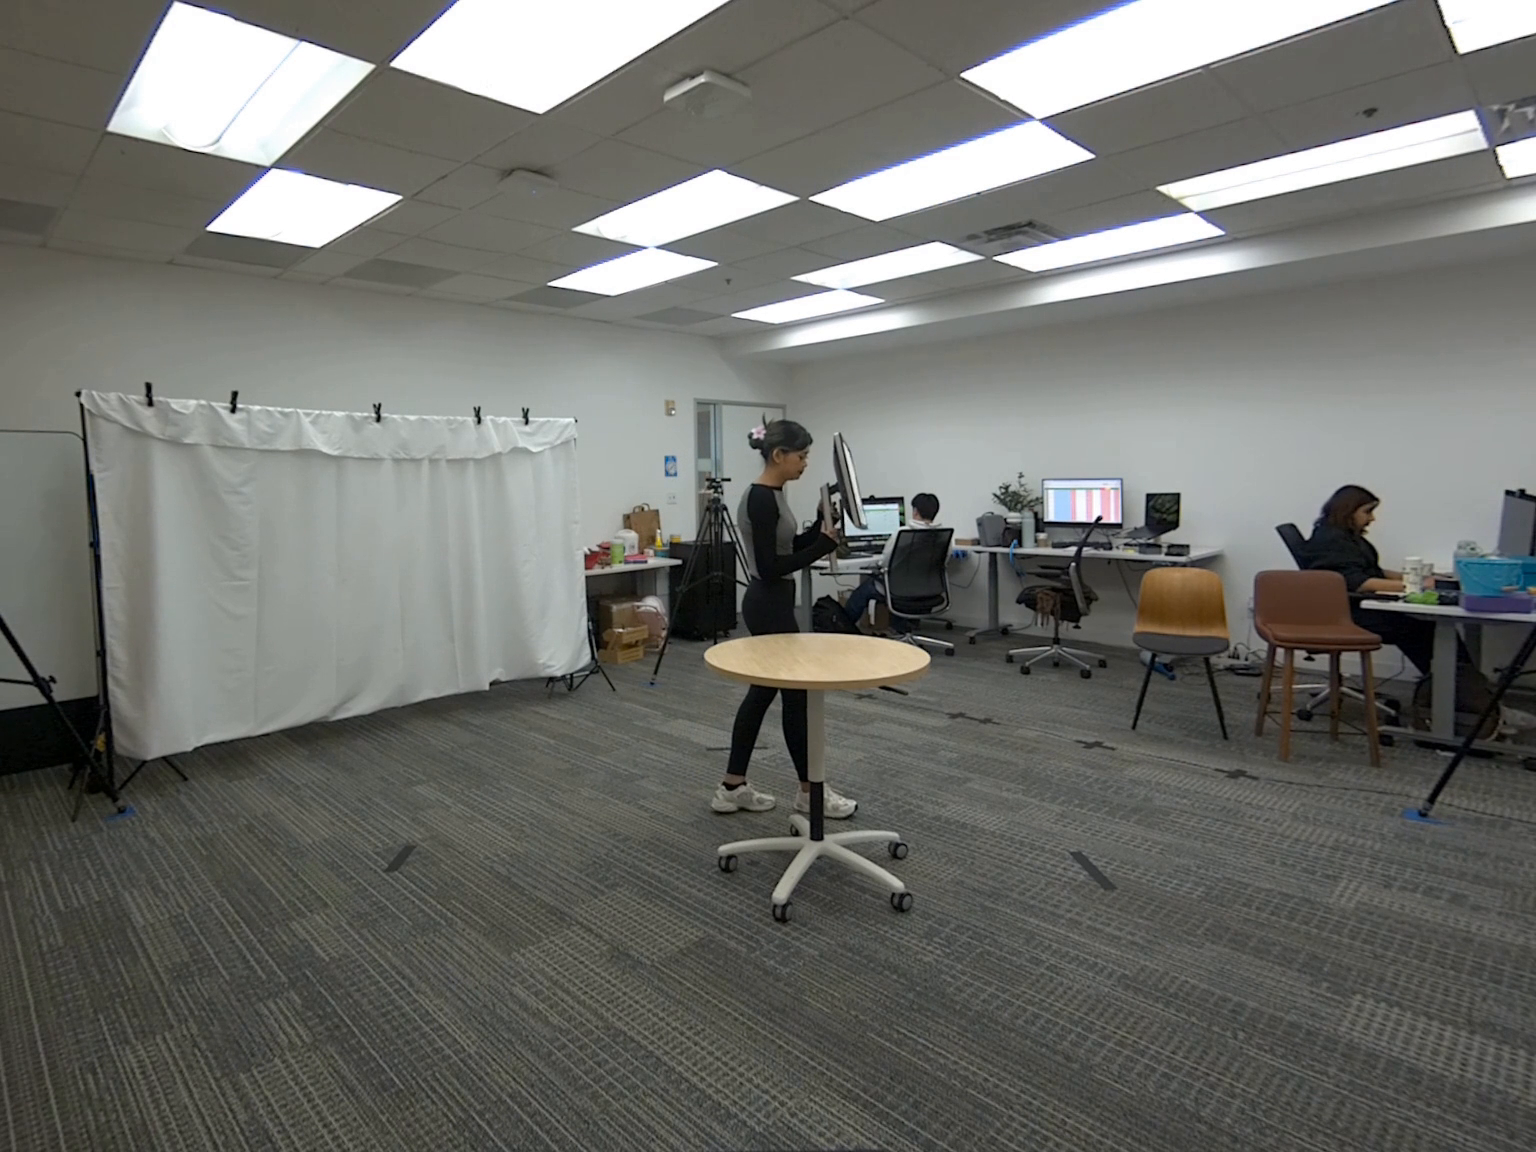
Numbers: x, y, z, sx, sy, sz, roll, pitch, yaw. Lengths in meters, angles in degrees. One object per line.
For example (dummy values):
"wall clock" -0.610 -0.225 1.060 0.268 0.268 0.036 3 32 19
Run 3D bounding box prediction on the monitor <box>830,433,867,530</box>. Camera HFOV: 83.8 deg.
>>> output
"monitor" 0.304 -0.273 3.472 0.188 0.524 0.534 -1 -2 6
